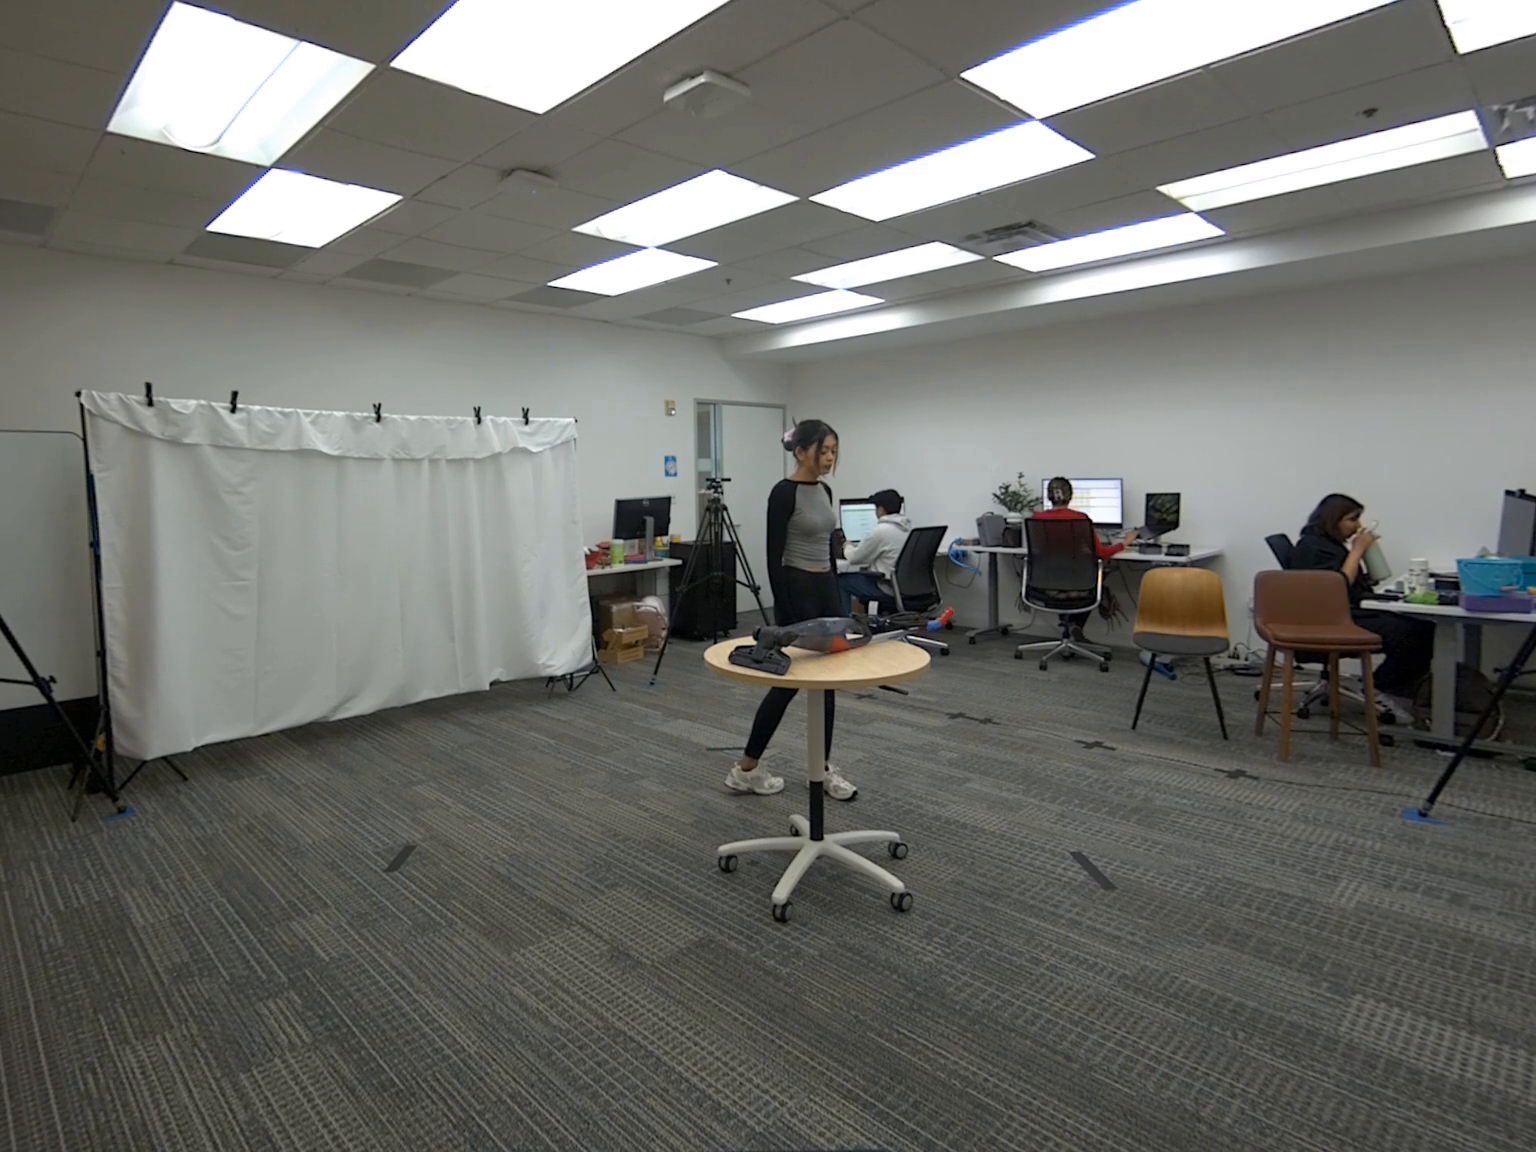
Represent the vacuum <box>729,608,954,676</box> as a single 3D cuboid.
[{"bbox_3d":[0.360,0.197,3.054,1.022,0.143,0.260,-8,10,-43],"label":"vacuum"}]
